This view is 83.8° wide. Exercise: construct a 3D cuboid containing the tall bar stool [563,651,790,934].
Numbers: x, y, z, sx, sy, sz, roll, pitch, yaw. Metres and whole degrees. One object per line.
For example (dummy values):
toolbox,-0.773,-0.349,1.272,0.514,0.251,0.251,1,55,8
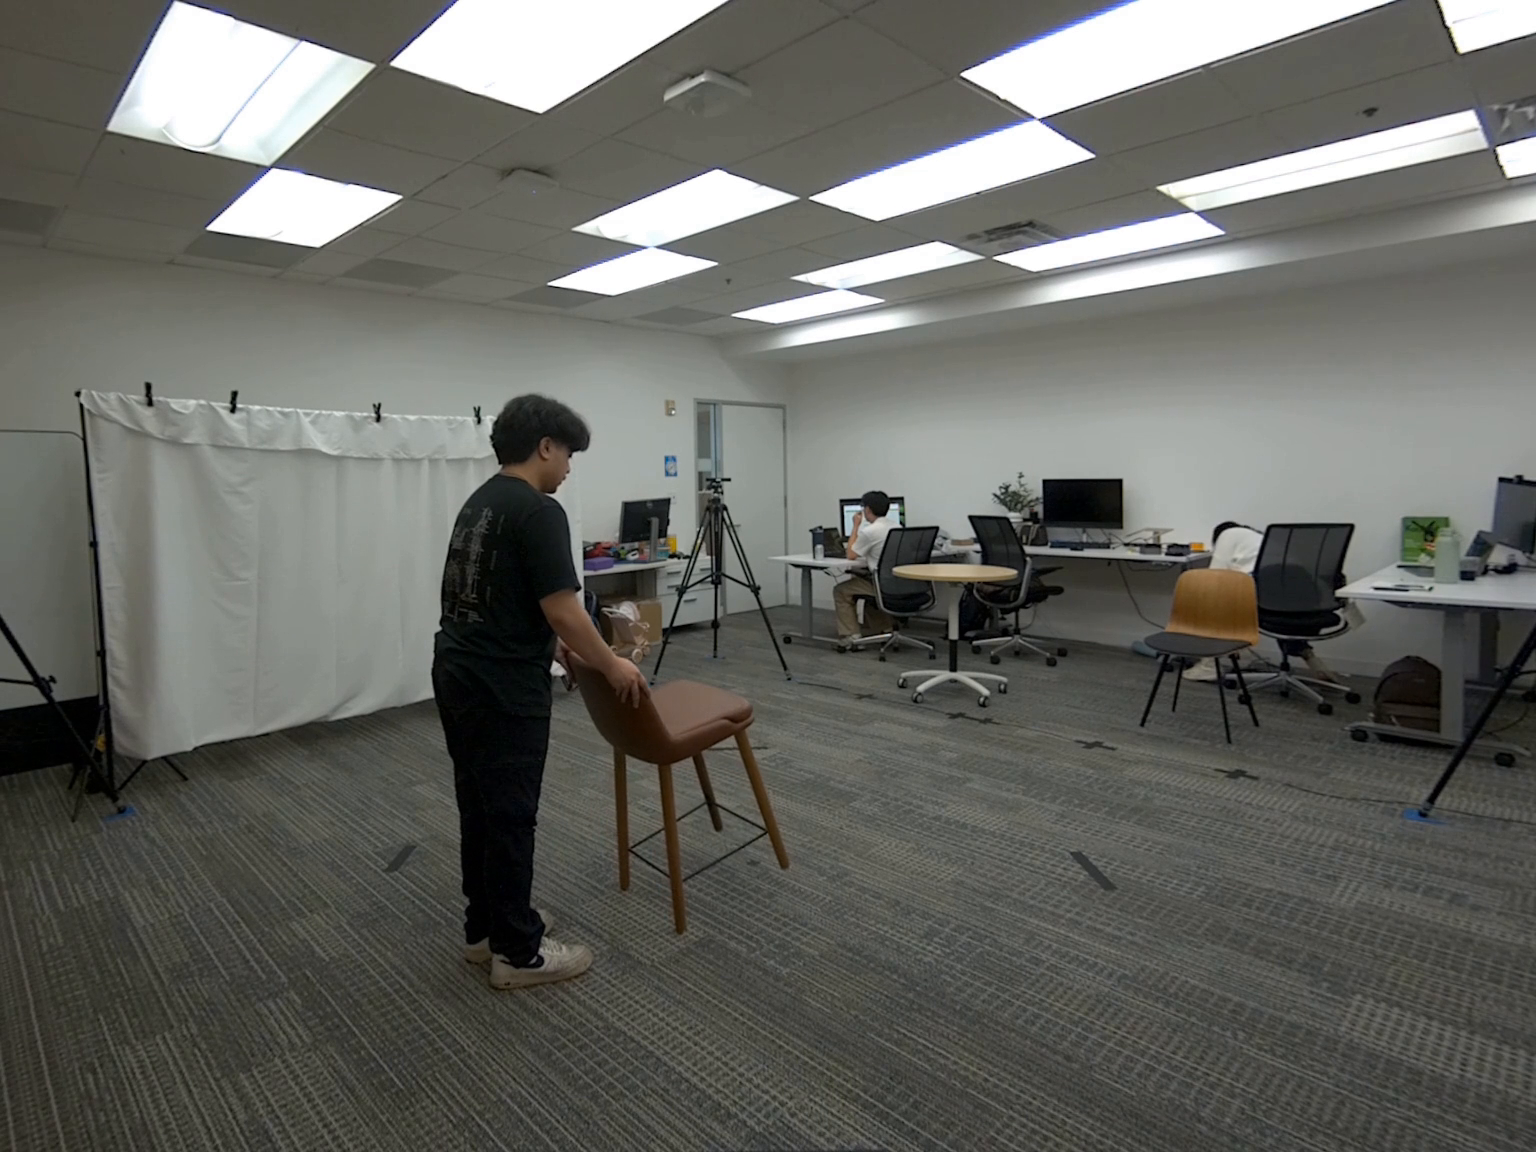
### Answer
tall bar stool,-0.301,0.610,2.821,0.460,0.878,0.470,-20,15,-35
